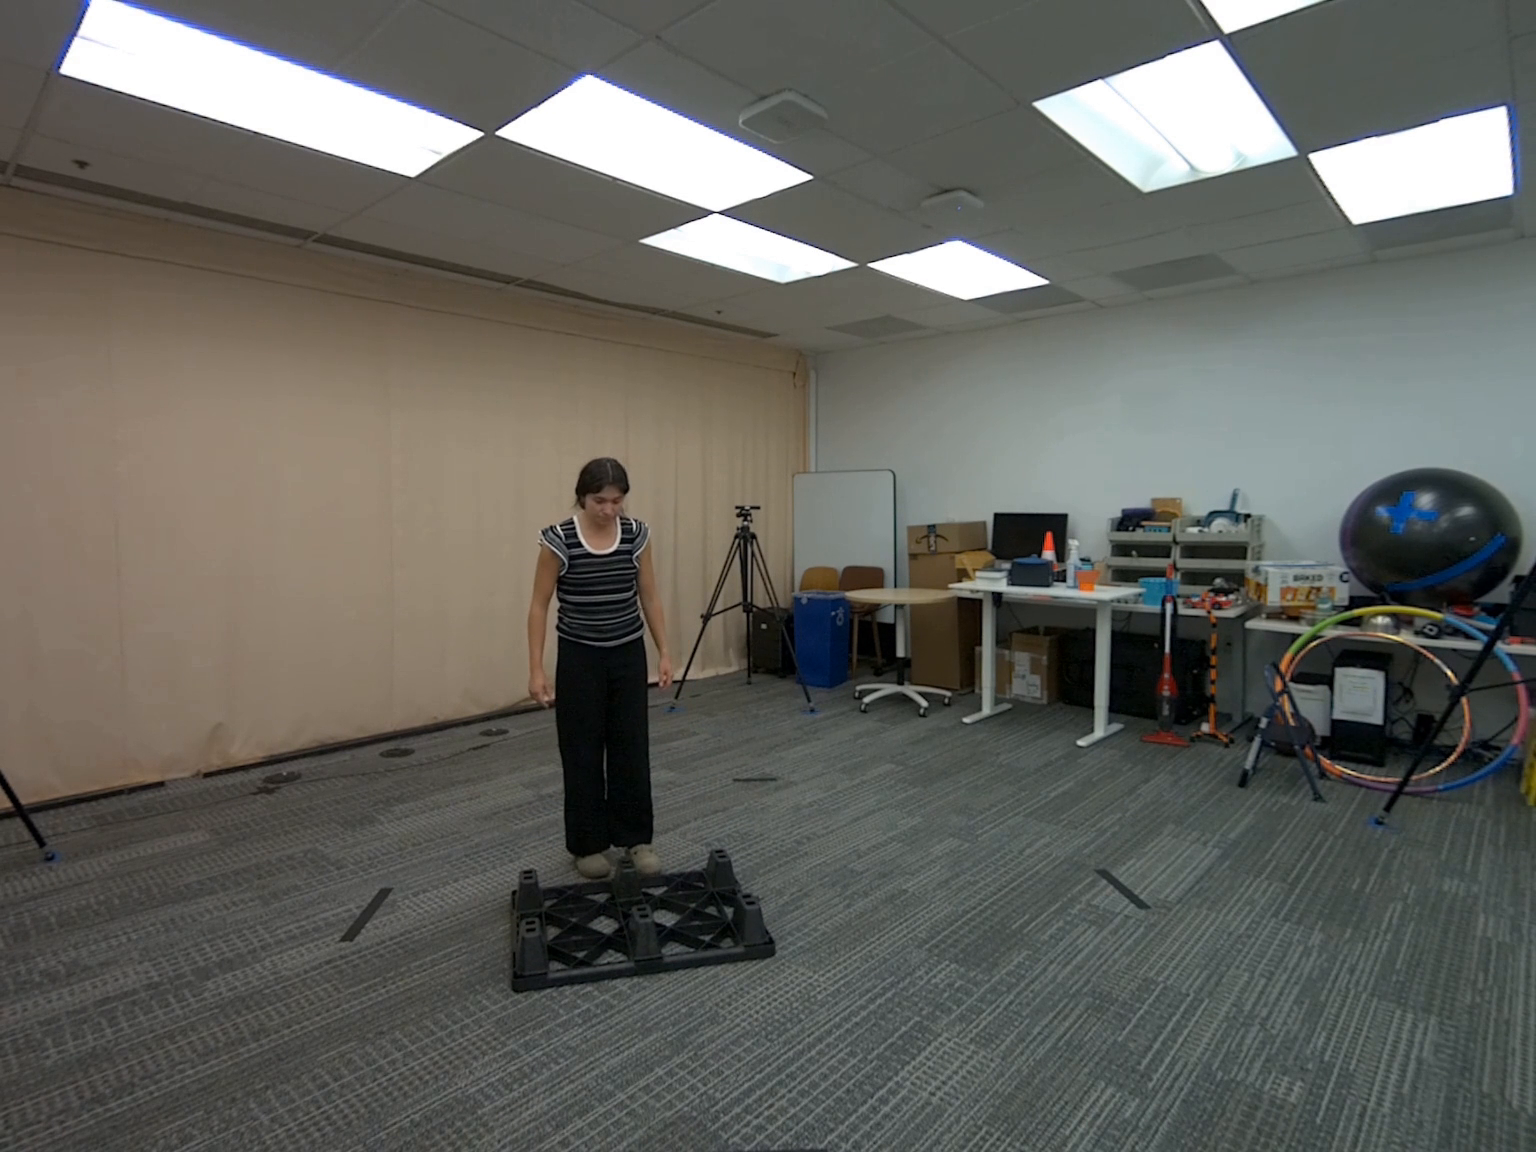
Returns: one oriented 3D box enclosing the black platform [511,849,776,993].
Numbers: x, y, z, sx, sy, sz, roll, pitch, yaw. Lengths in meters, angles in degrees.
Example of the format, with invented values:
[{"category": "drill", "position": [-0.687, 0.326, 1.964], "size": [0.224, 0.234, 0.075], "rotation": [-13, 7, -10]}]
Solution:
[{"category": "black platform", "position": [-0.438, 1.096, 2.782], "size": [0.793, 0.143, 0.616], "rotation": [-2, 5, -15]}]
